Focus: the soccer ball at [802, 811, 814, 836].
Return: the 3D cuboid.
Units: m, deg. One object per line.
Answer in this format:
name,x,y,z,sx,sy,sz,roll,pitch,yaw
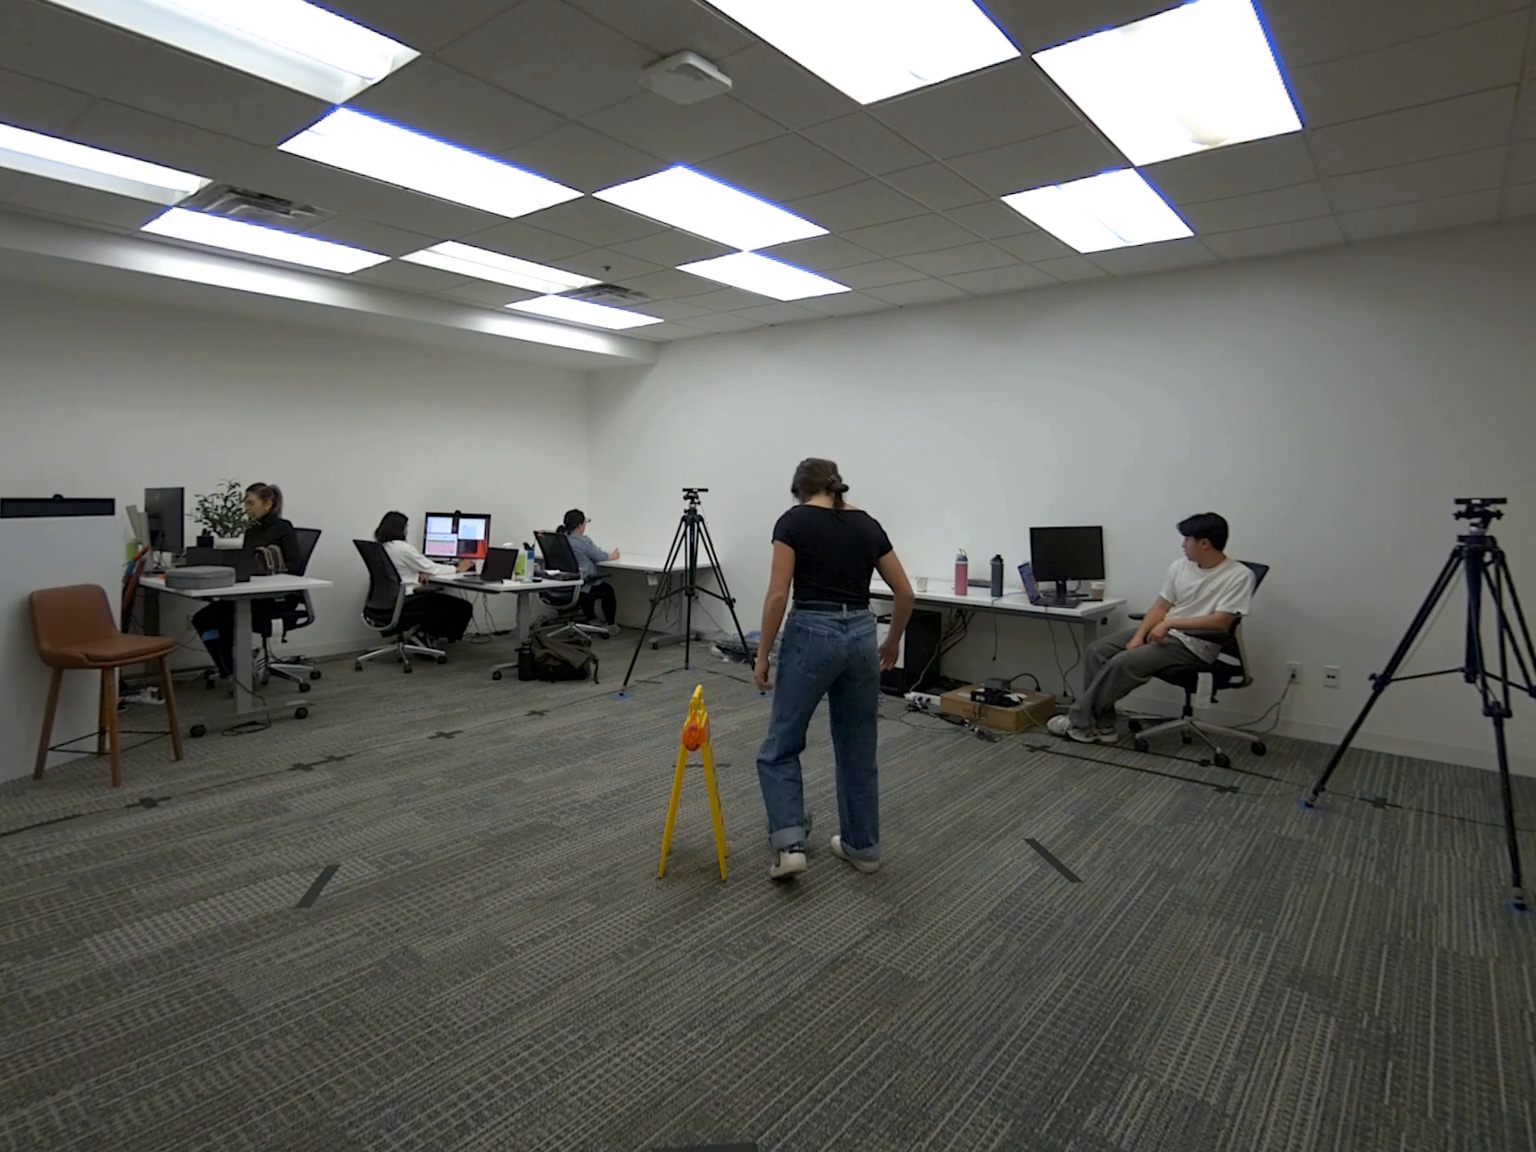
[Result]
soccer ball,0.091,0.952,3.329,0.187,0.187,0.188,1,4,-2
